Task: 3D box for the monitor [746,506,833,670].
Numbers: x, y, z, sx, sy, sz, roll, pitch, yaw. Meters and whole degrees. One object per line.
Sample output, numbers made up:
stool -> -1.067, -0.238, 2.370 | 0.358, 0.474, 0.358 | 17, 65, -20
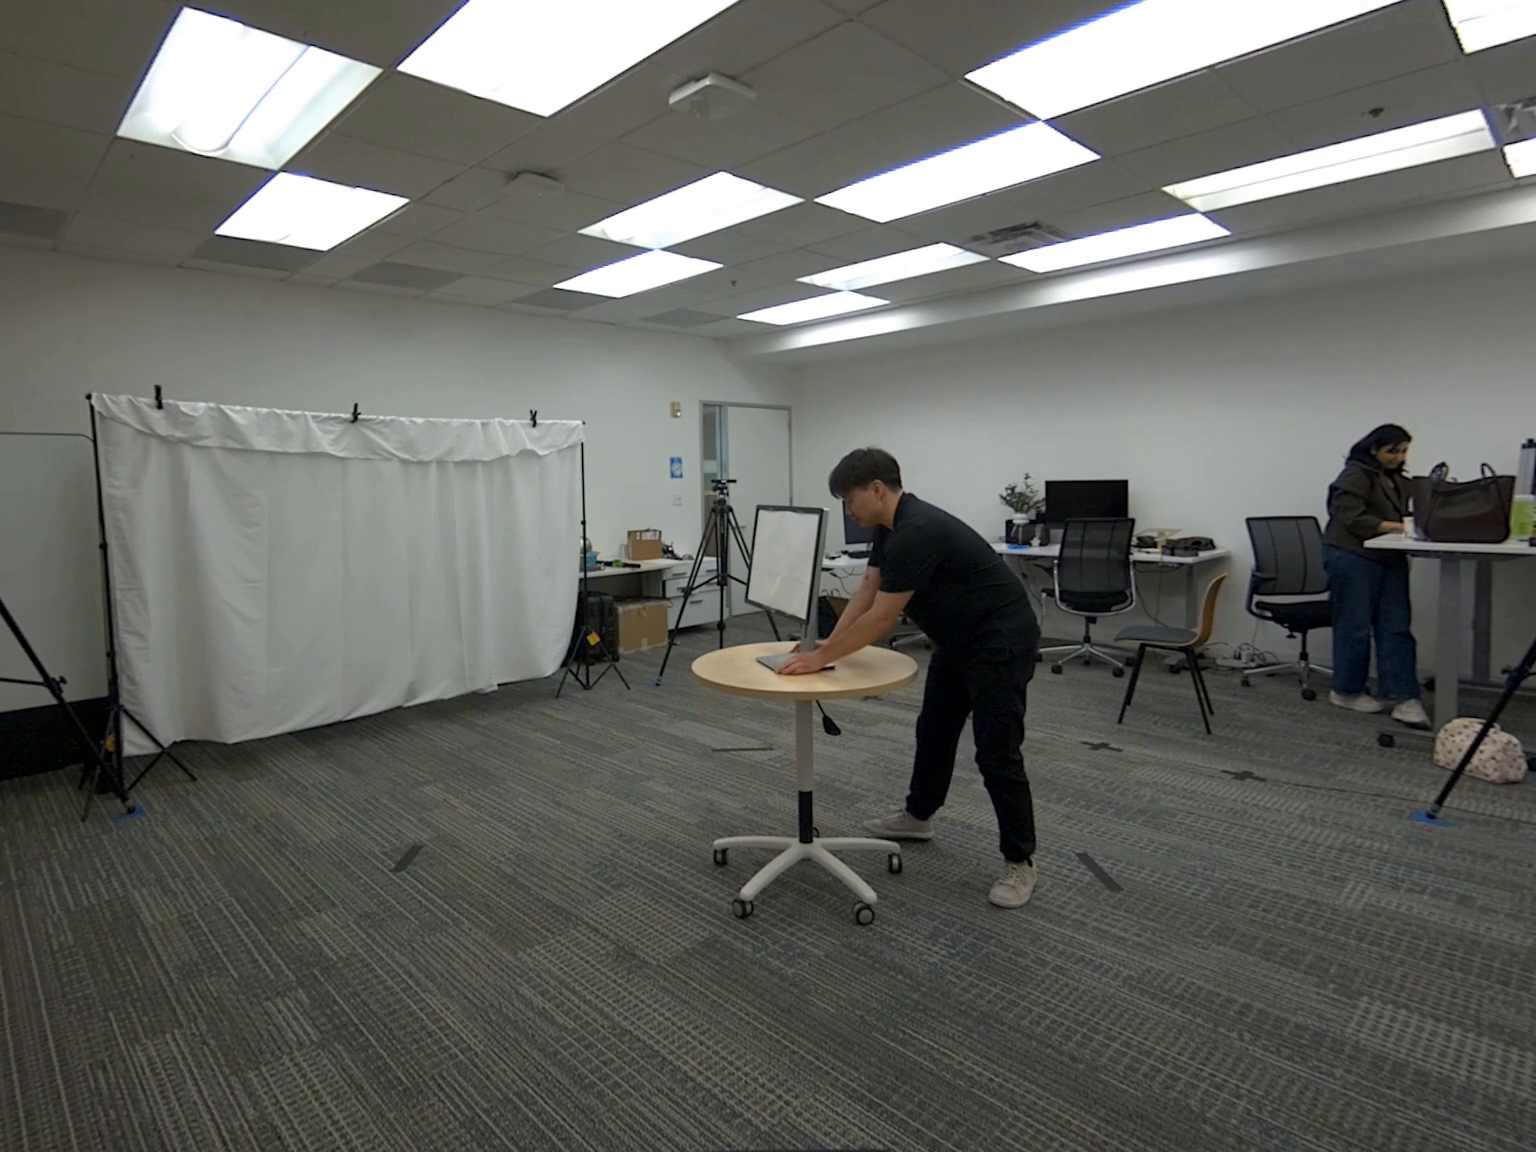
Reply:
monitor -> 0.087, 0.036, 2.883 | 0.184, 0.520, 0.551 | -4, 5, -22
